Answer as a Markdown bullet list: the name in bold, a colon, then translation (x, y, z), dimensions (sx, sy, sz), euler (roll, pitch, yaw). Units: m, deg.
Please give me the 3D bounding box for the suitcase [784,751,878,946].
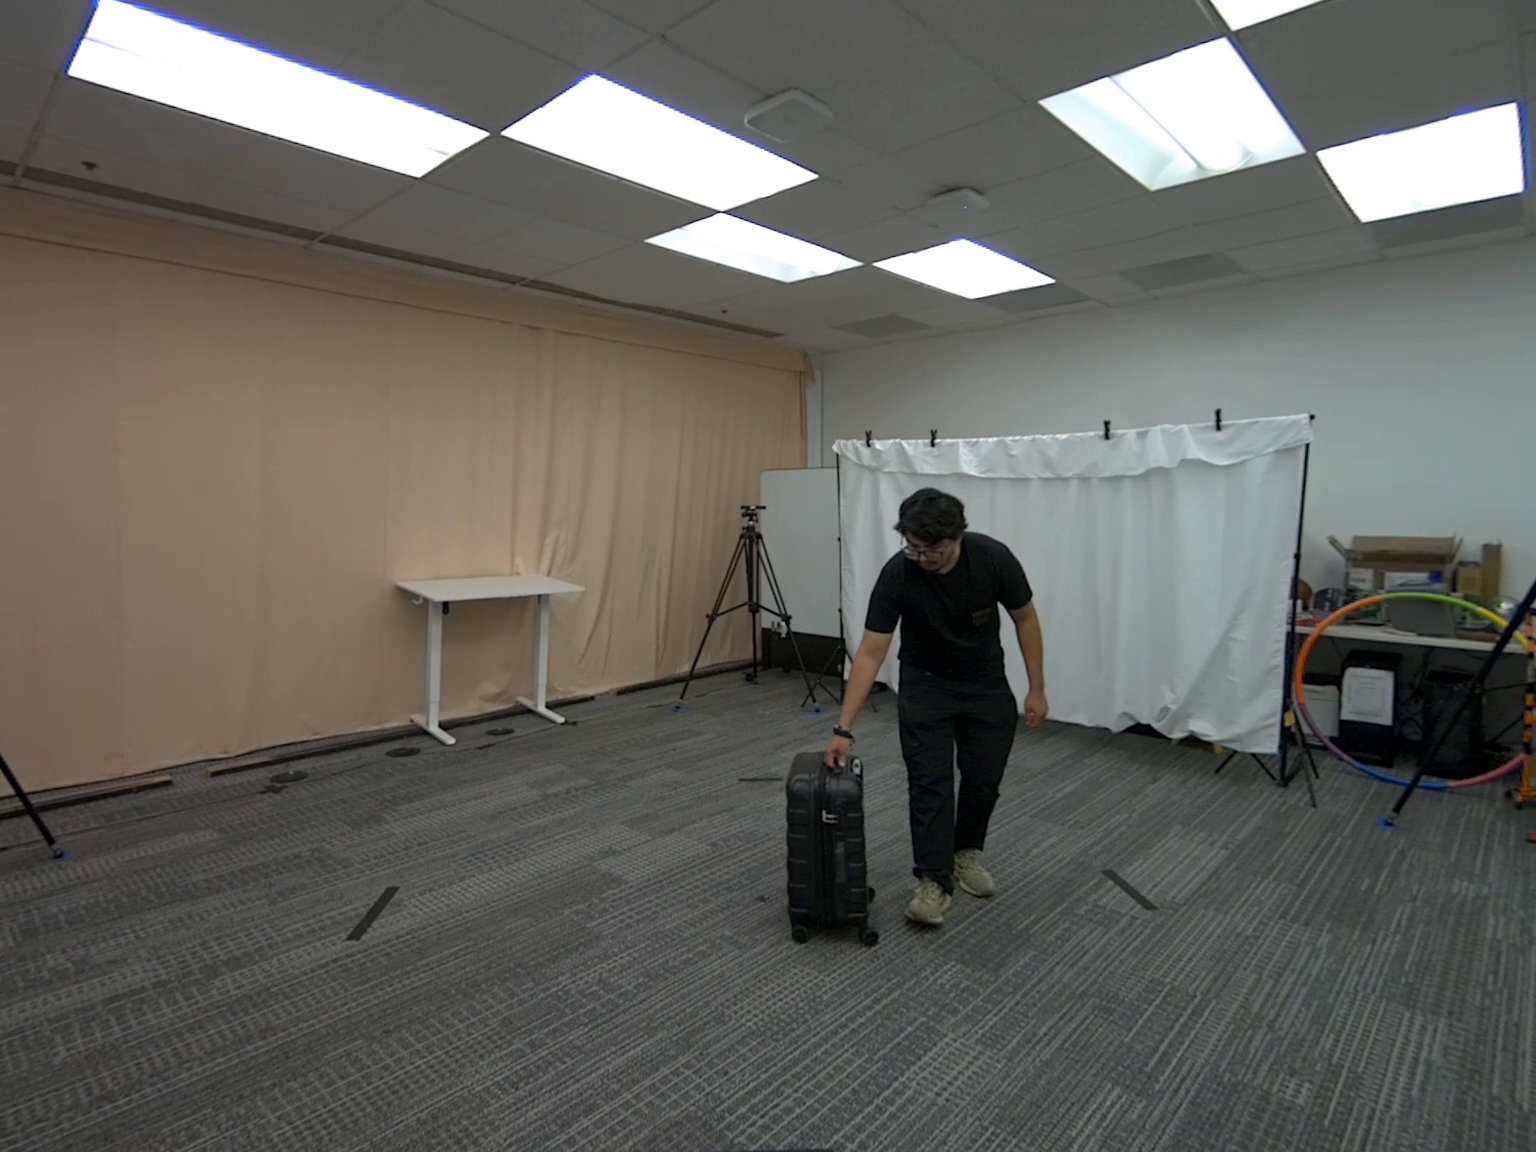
- **suitcase**: translation (0.201, 0.892, 2.808), dimensions (0.250, 0.548, 0.374), euler (-2, 4, 5)
